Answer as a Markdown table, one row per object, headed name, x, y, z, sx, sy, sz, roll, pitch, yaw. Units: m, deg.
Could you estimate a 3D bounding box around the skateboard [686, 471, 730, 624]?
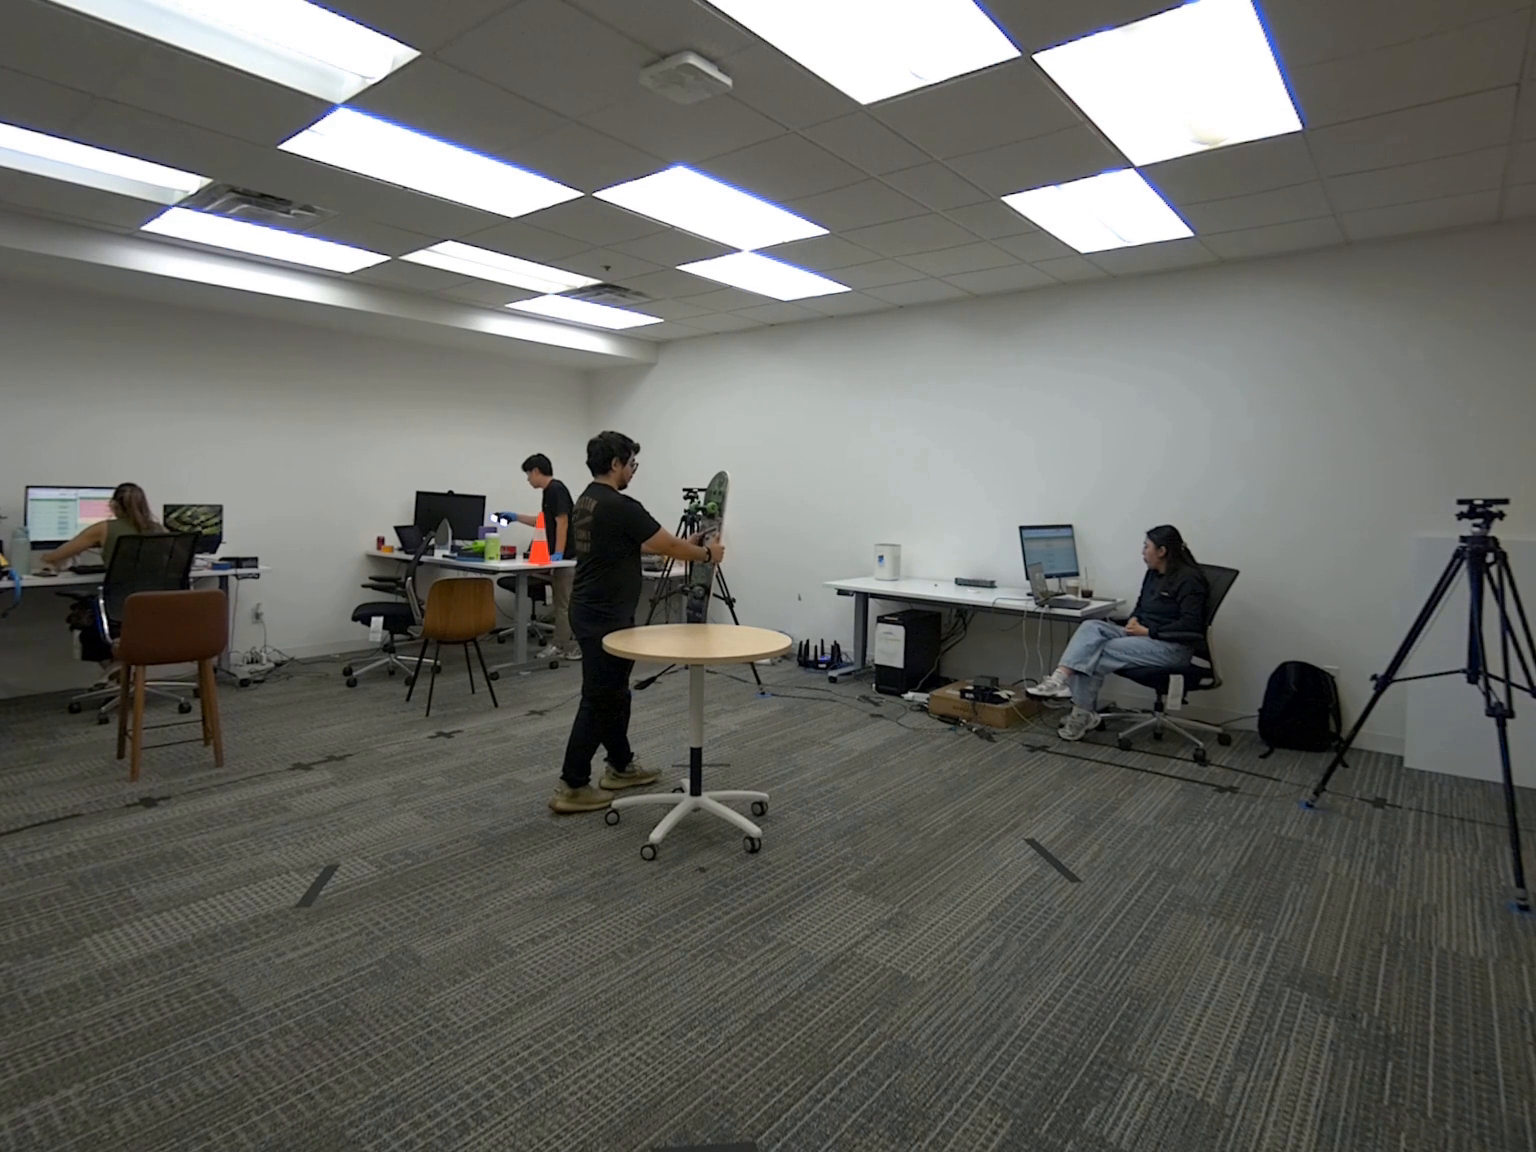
| name | x | y | z | sx | sy | sz | roll | pitch | yaw |
| --- | --- | --- | --- | --- | --- | --- | --- | --- | --- |
| skateboard | -0.327 | -0.130 | 4.048 | 0.106 | 0.788 | 0.199 | 12 | -6 | -36 |
